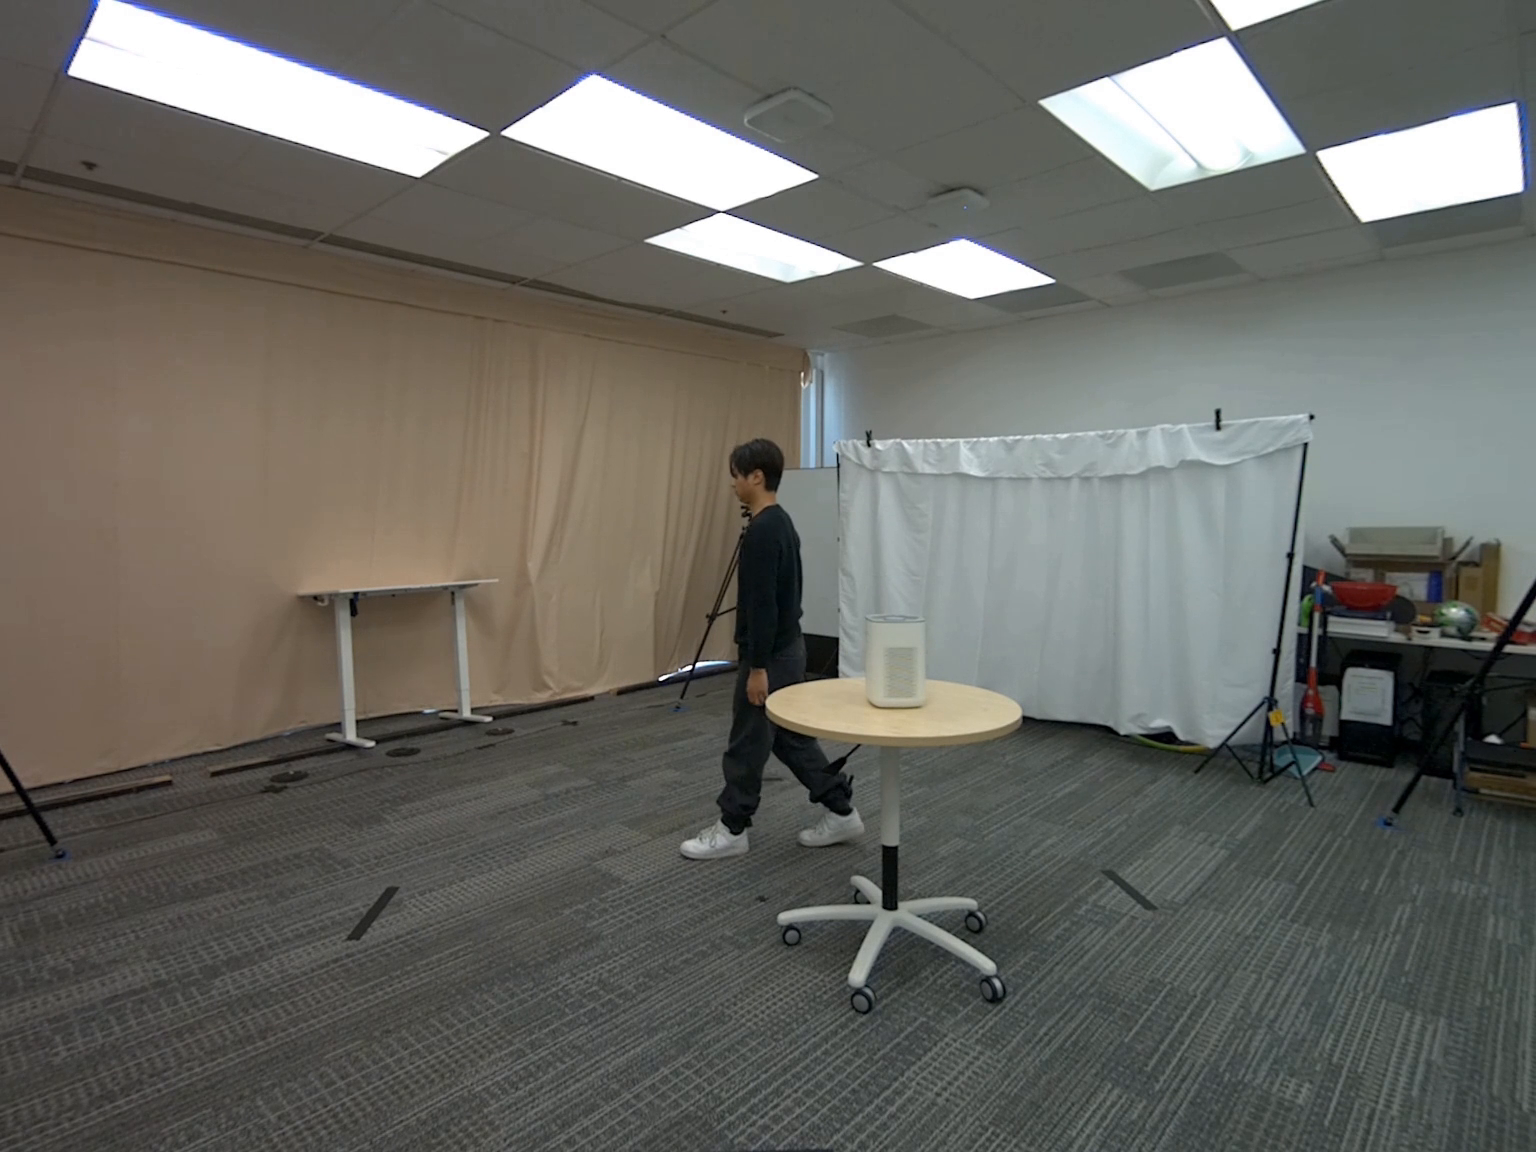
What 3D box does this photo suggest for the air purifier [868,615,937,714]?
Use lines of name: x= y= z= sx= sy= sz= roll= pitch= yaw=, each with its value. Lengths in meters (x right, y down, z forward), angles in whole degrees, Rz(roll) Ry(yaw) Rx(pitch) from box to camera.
air purifier: x=0.402 y=0.260 z=2.562 sx=0.172 sy=0.265 sz=0.171 roll=-1 pitch=3 yaw=-1
